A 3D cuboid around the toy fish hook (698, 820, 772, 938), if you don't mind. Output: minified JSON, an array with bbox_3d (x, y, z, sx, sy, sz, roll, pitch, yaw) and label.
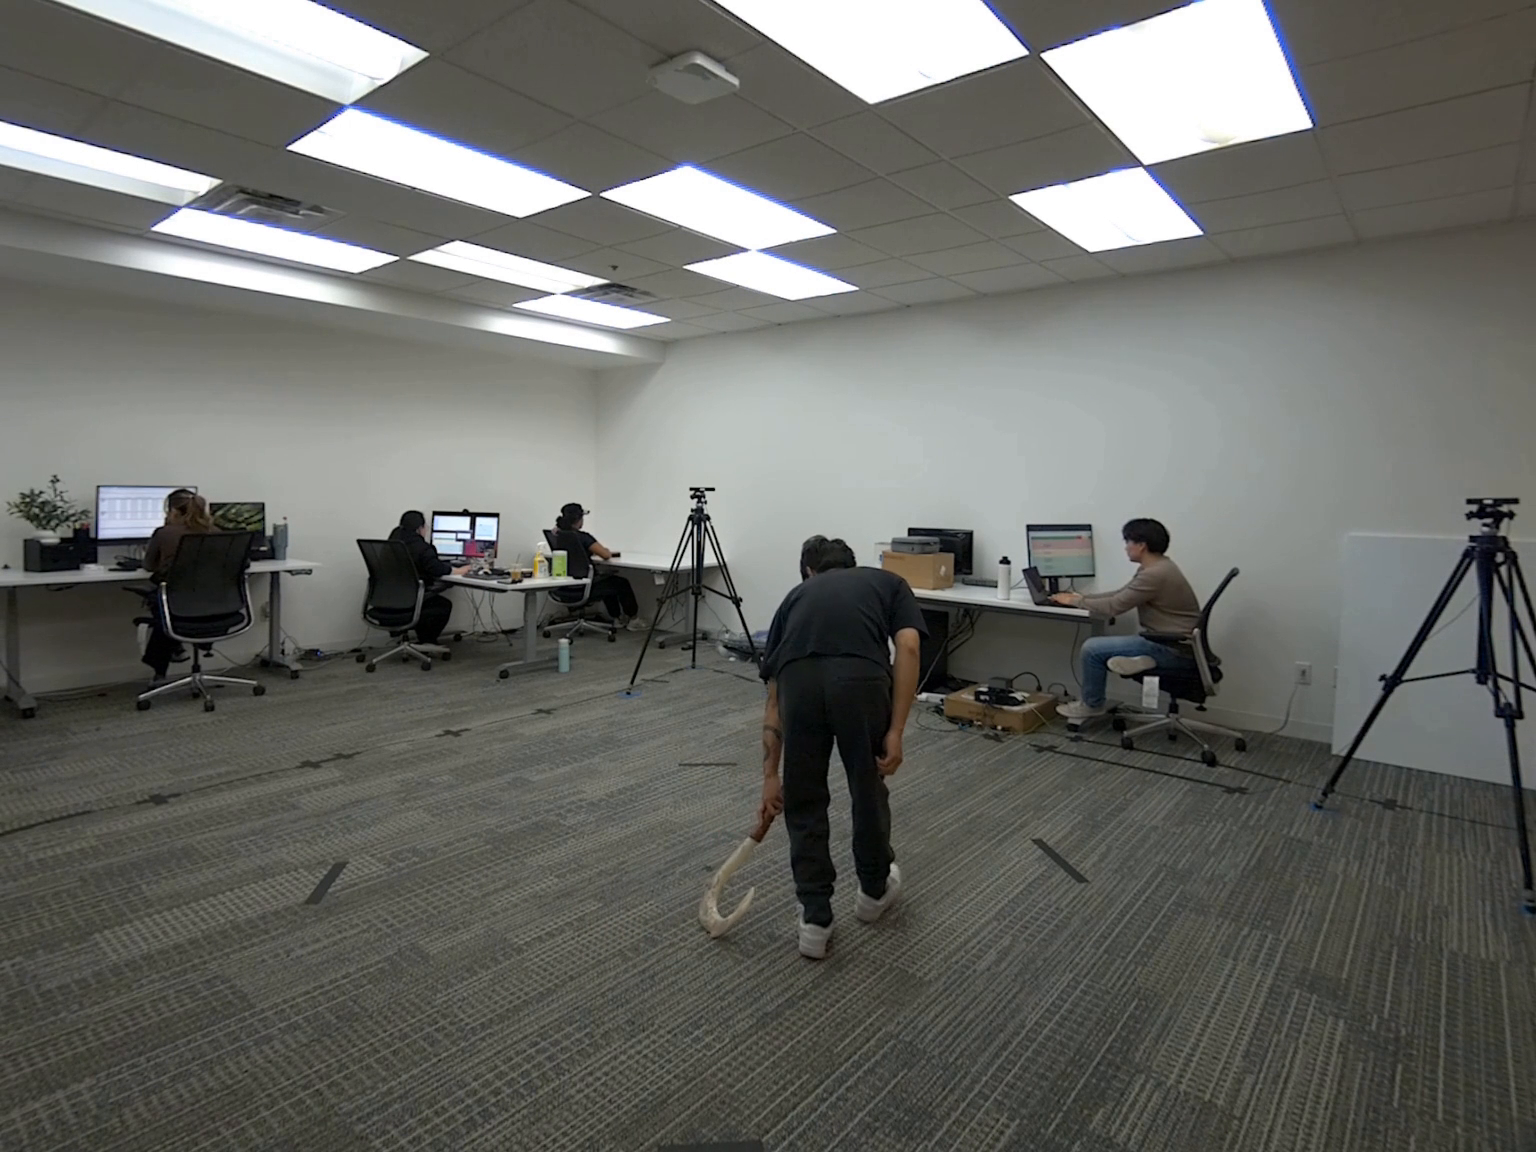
[{"bbox_3d":[-0.062,0.905,2.715,0.046,0.508,0.232,38,-13,-29],"label":"toy fish hook"}]
